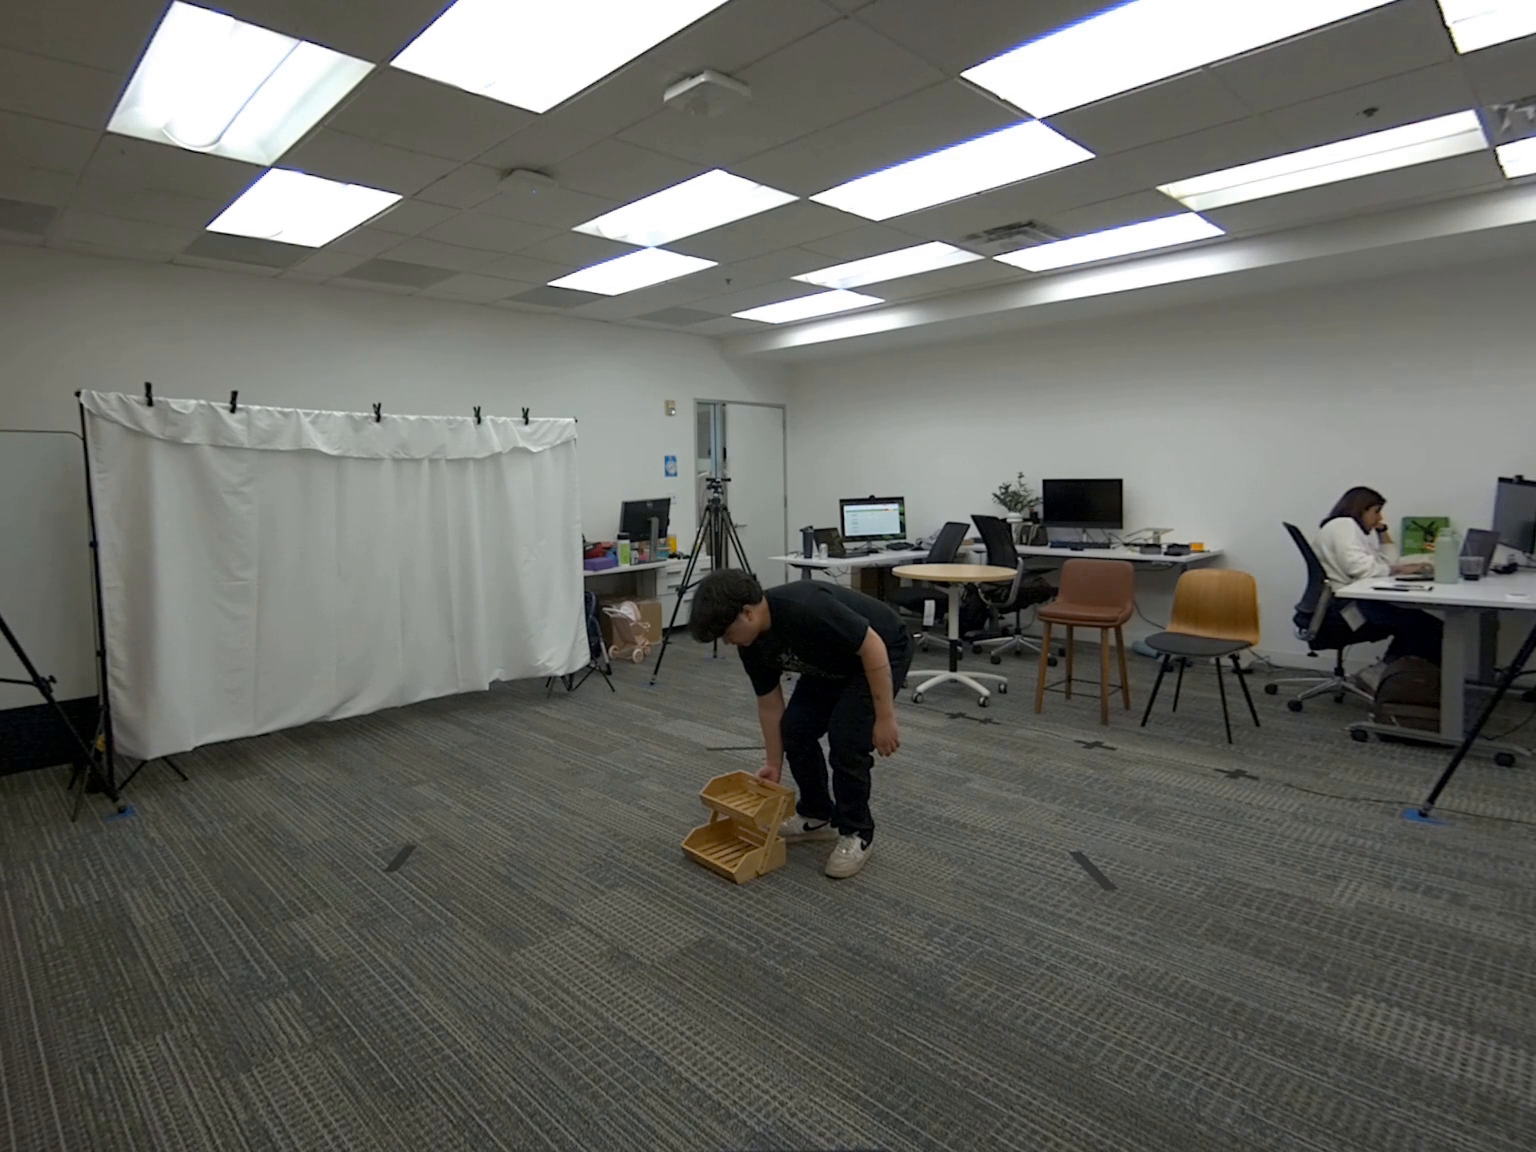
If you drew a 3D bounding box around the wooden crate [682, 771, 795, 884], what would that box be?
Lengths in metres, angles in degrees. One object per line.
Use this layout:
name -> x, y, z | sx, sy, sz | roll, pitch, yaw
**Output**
wooden crate -> -0.111, 0.908, 3.134 | 0.294, 0.272, 0.334 | -4, 5, -41
